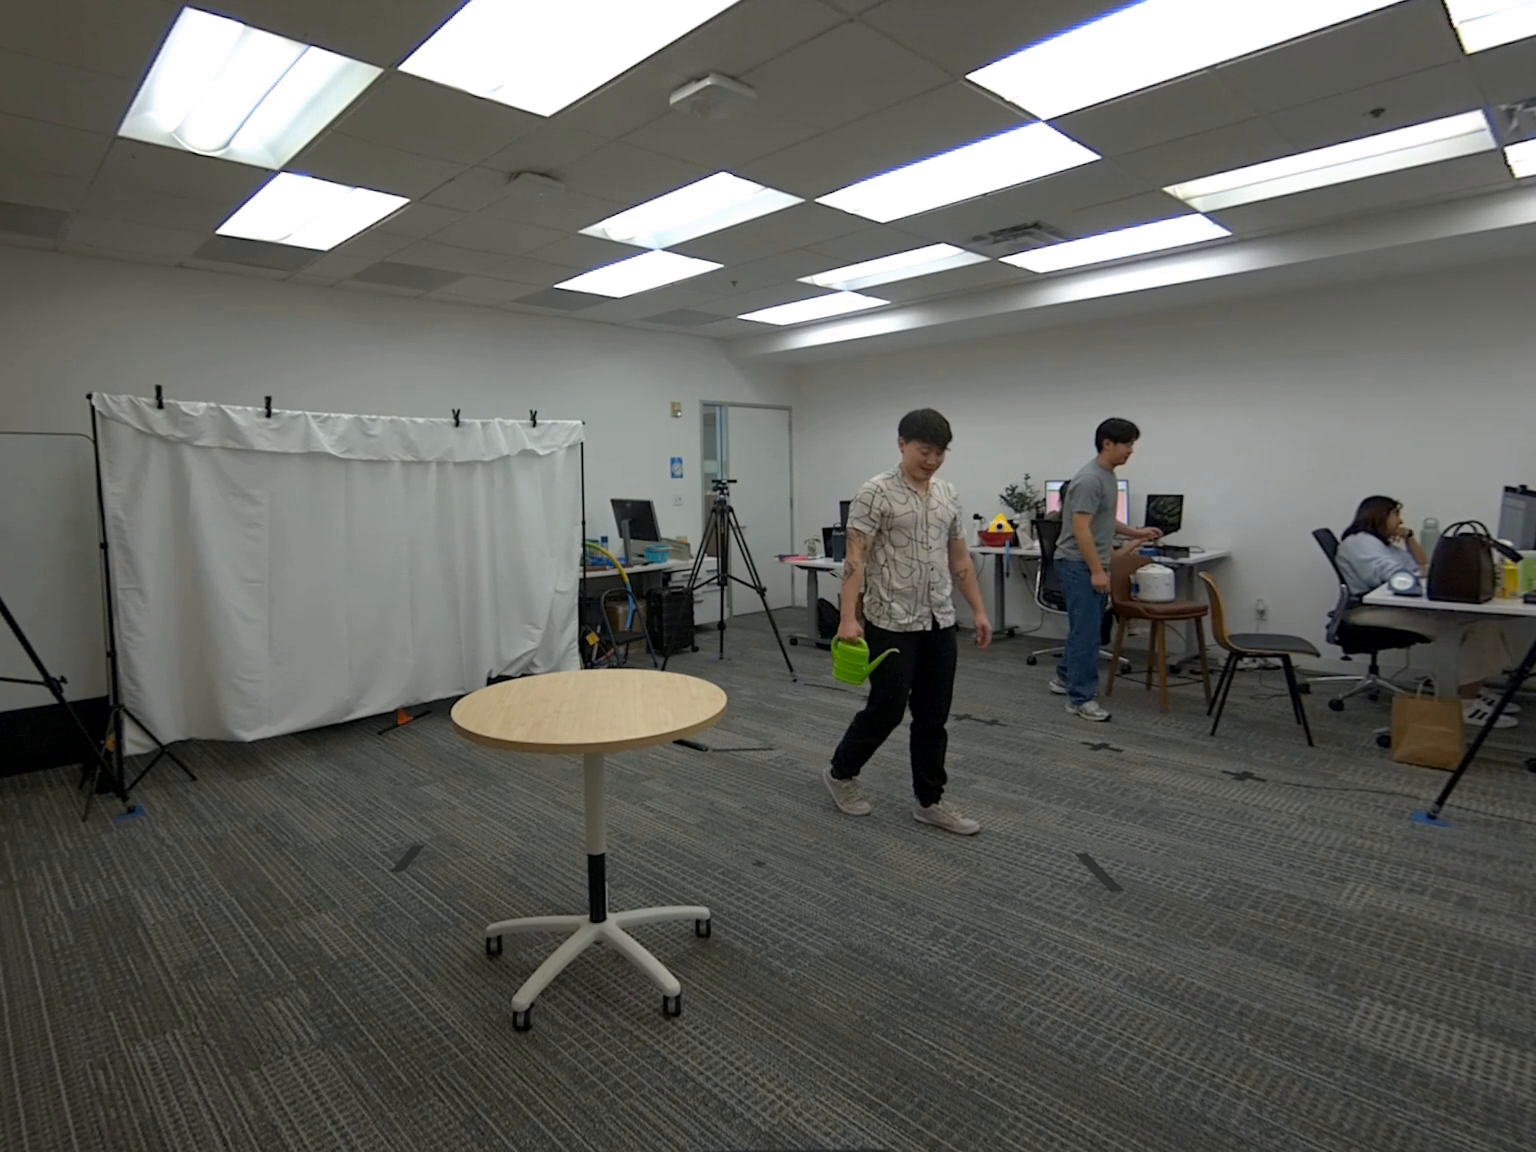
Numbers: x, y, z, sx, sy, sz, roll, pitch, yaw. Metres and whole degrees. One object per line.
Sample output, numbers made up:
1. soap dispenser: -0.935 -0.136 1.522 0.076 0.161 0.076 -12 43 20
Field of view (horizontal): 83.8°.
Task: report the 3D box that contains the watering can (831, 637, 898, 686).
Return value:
1. watering can: 0.358 0.317 3.188 0.095 0.176 0.288 2 11 -39
